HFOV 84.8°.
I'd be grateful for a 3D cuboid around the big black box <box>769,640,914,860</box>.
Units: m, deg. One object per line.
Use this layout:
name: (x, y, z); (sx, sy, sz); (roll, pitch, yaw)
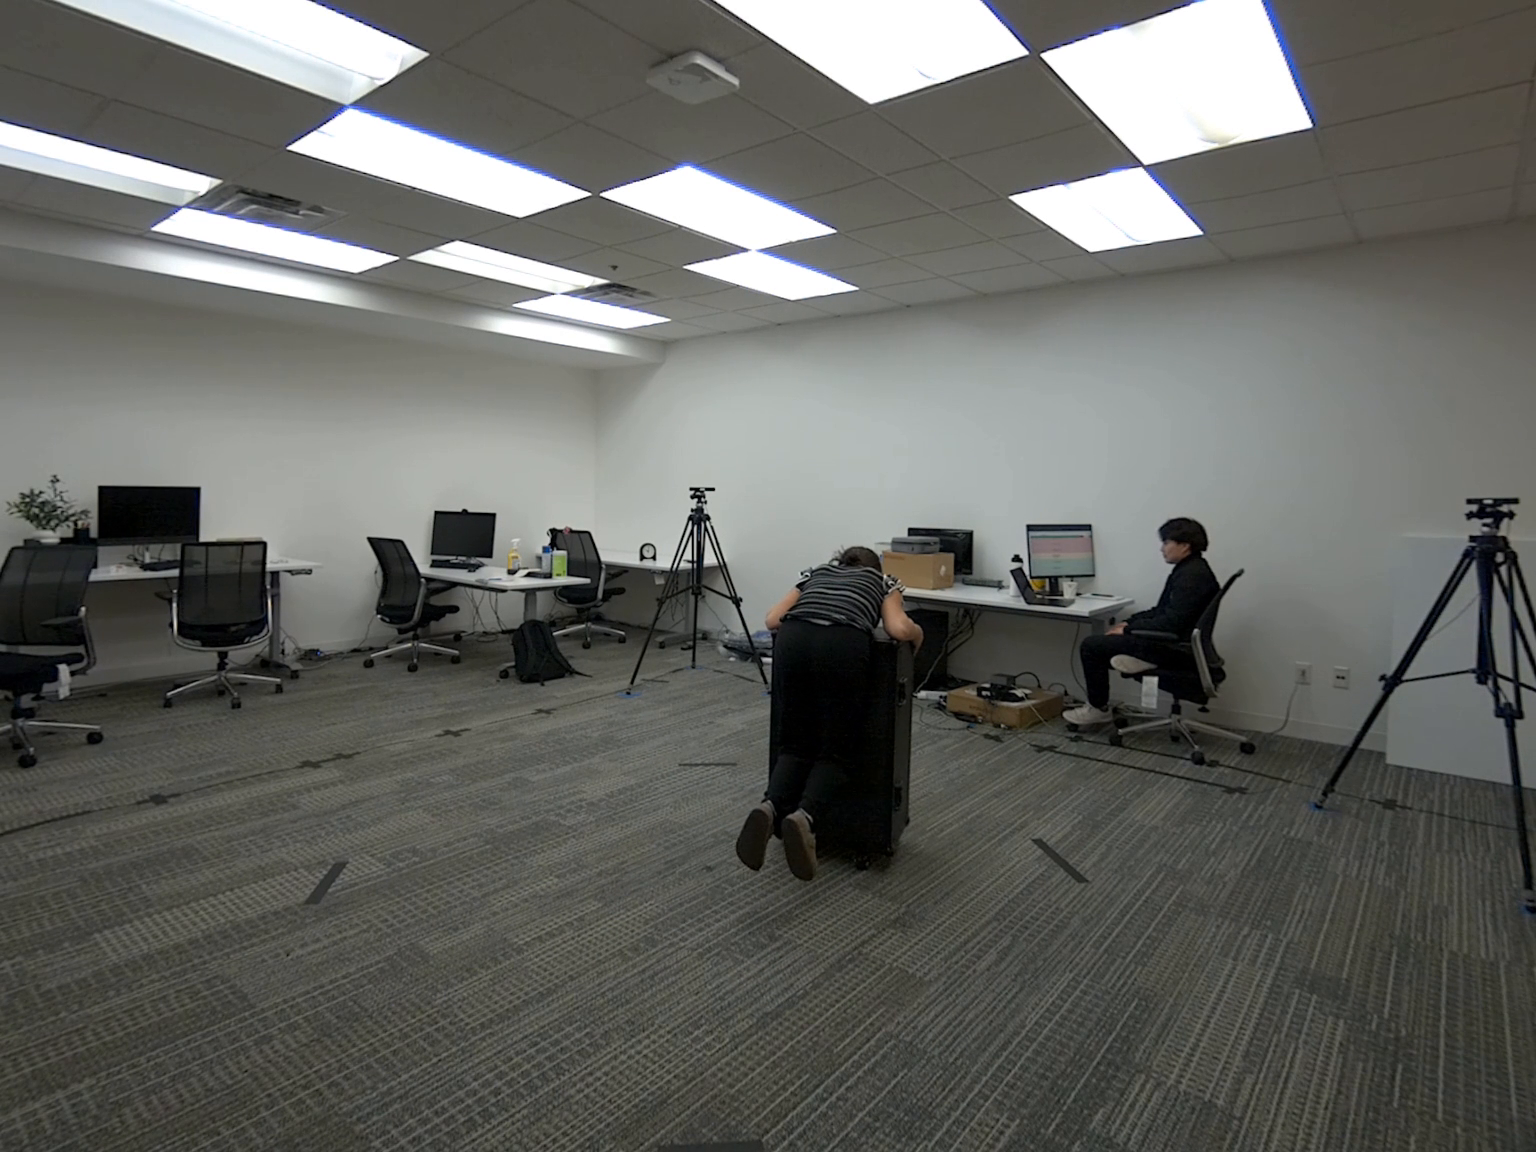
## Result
big black box: (0.280, 0.646, 3.334); (0.533, 0.859, 0.388); (3, 3, 21)
